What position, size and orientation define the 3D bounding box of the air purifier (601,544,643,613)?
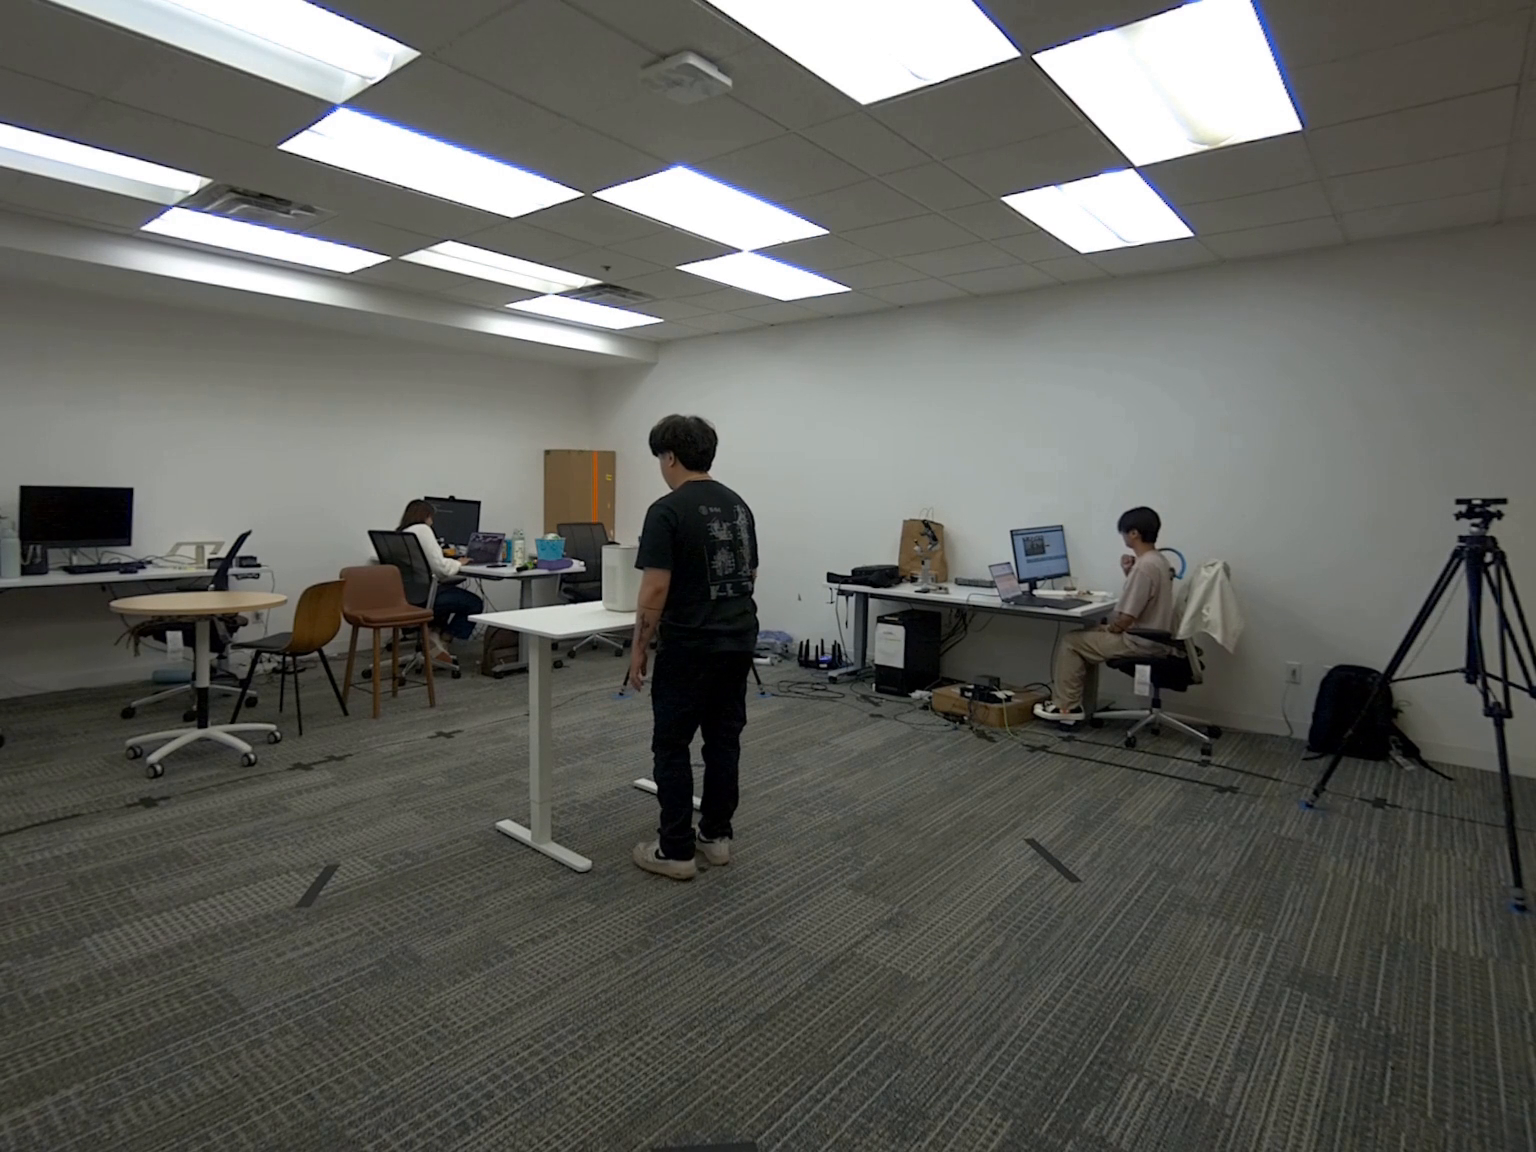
[{"bbox_3d":[-0.605,0.008,3.547,0.177,0.264,0.166,4,5,43],"label":"air purifier"}]
